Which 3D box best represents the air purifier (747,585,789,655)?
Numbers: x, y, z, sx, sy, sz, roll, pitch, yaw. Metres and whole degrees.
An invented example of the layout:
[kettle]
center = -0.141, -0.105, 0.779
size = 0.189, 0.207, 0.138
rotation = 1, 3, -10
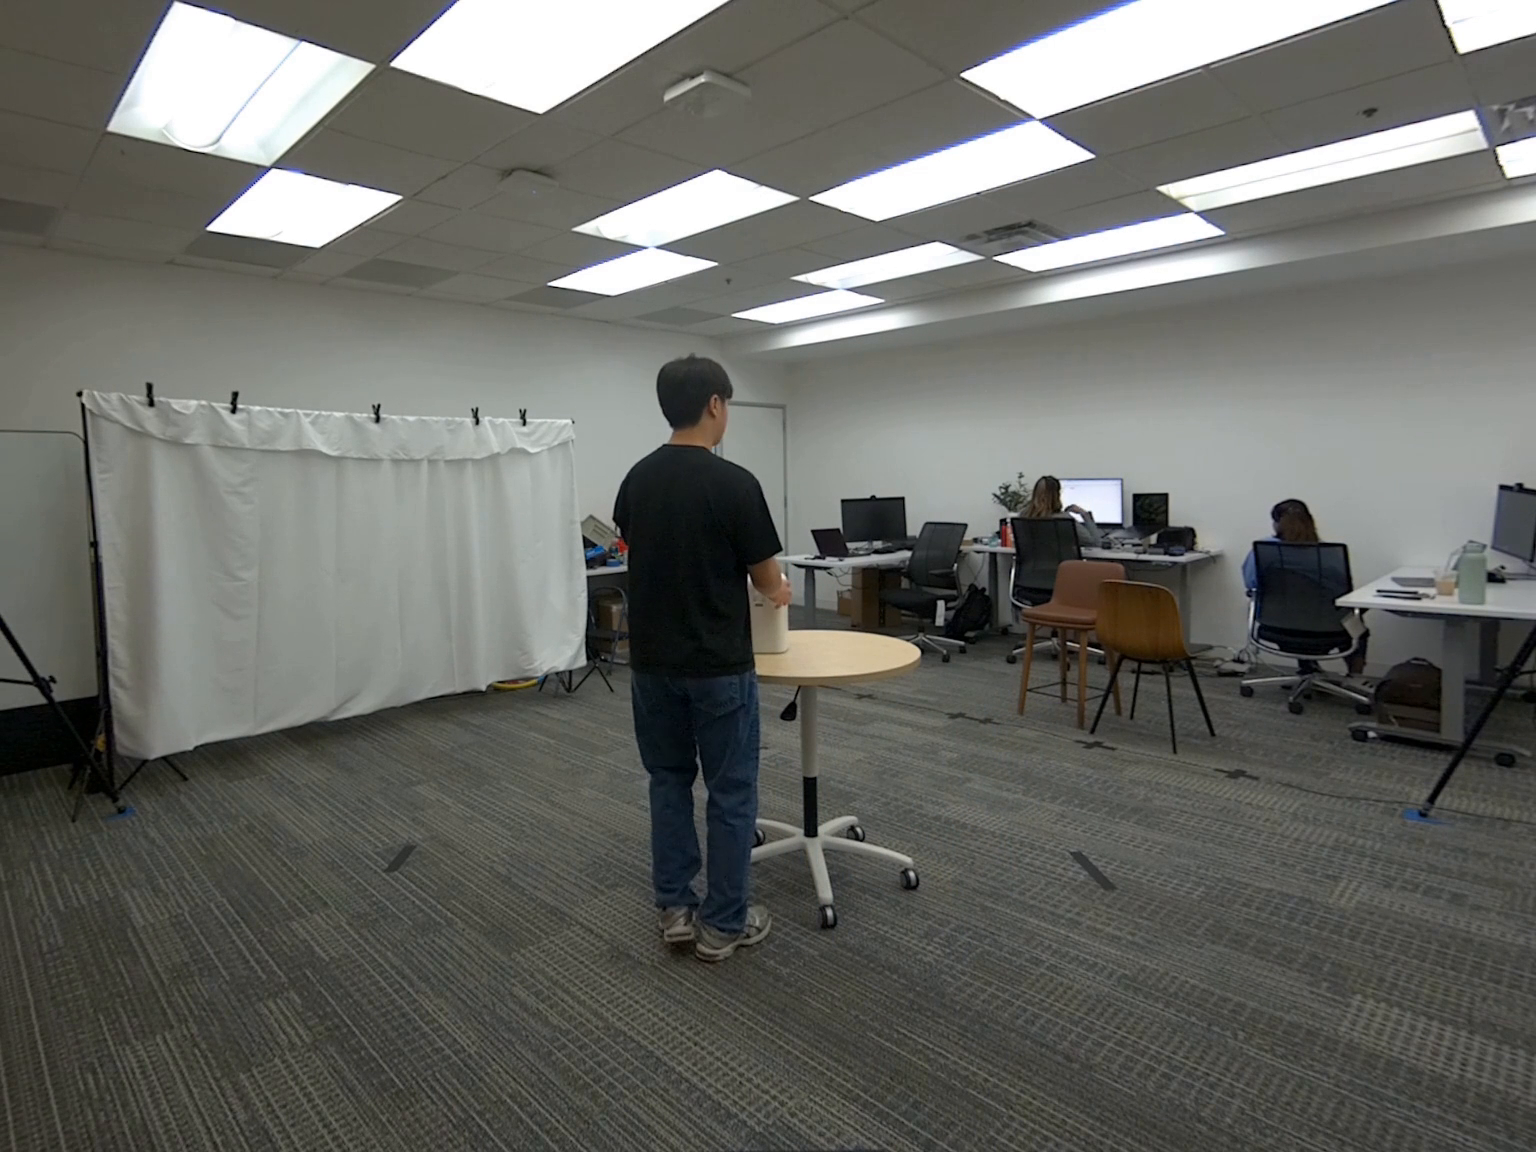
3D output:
[air purifier]
center = -0.010, 0.128, 3.000
size = 0.172, 0.264, 0.171
rotation = -1, 4, 5
